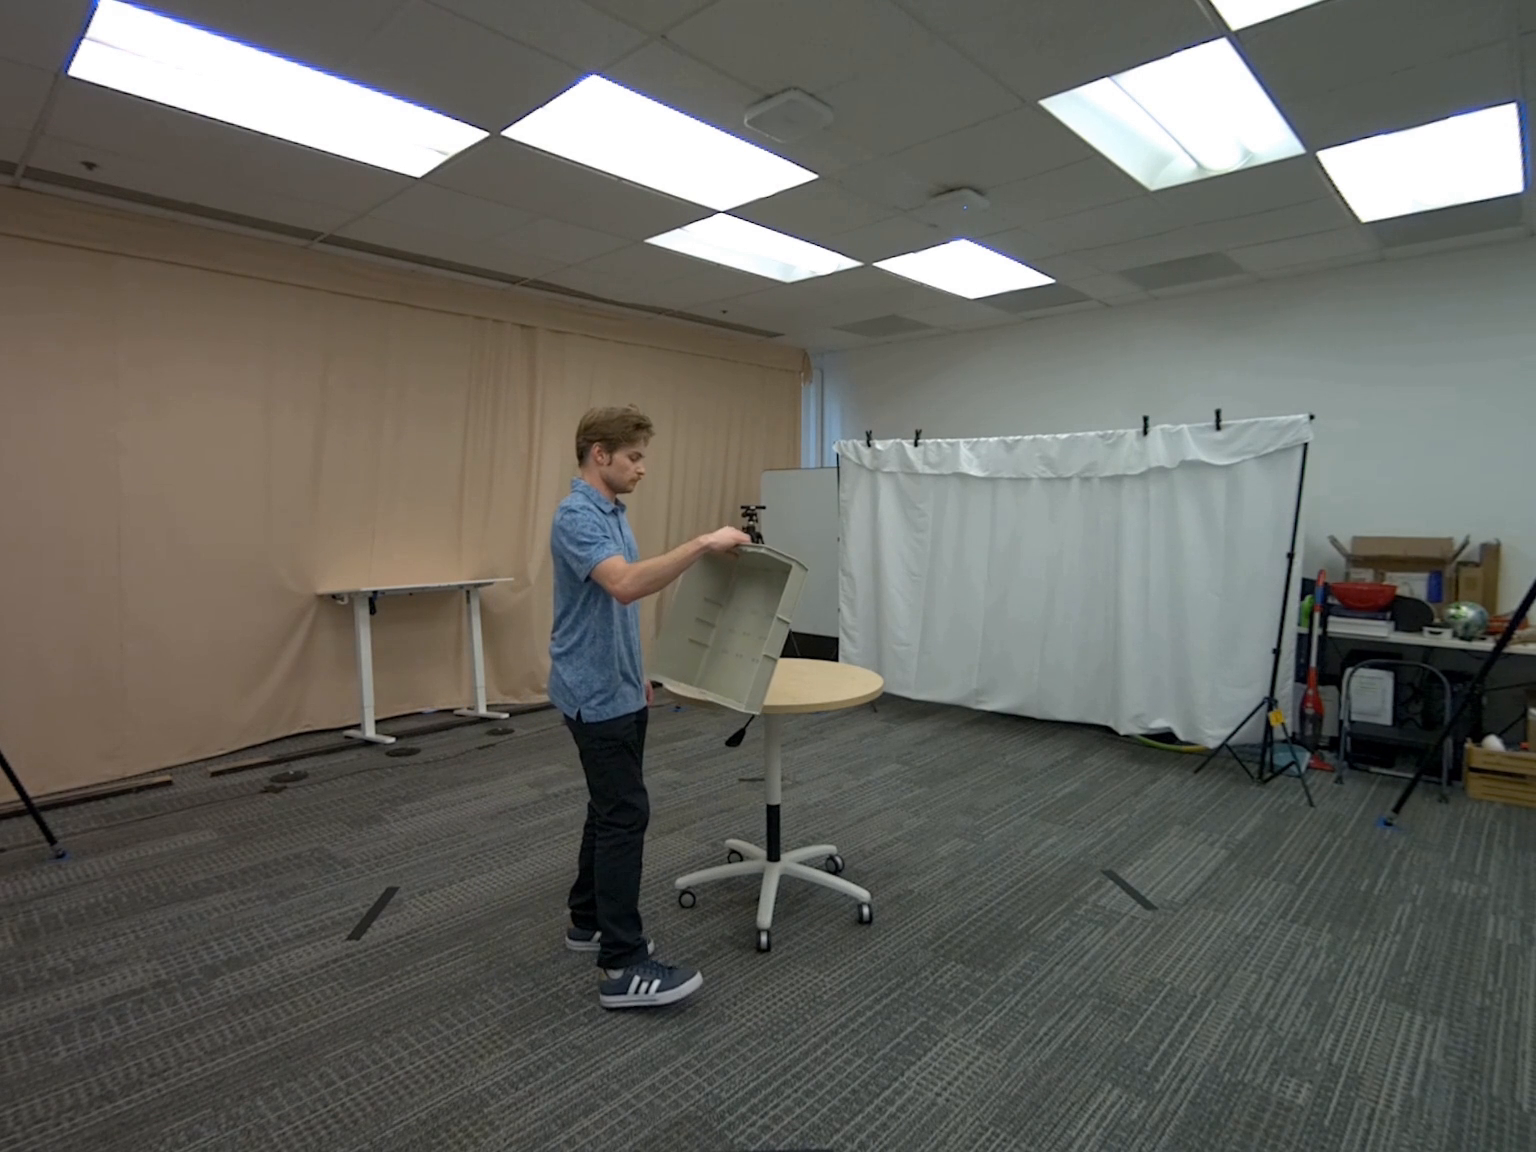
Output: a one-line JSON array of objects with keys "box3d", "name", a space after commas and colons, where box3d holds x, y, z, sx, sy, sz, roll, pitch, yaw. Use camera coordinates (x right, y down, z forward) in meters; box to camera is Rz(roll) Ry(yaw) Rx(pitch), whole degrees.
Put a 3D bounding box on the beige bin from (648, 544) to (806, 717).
[{"box3d": [-0.100, 0.137, 2.311, 0.183, 0.423, 0.389, 25, -11, -33], "name": "beige bin"}]
